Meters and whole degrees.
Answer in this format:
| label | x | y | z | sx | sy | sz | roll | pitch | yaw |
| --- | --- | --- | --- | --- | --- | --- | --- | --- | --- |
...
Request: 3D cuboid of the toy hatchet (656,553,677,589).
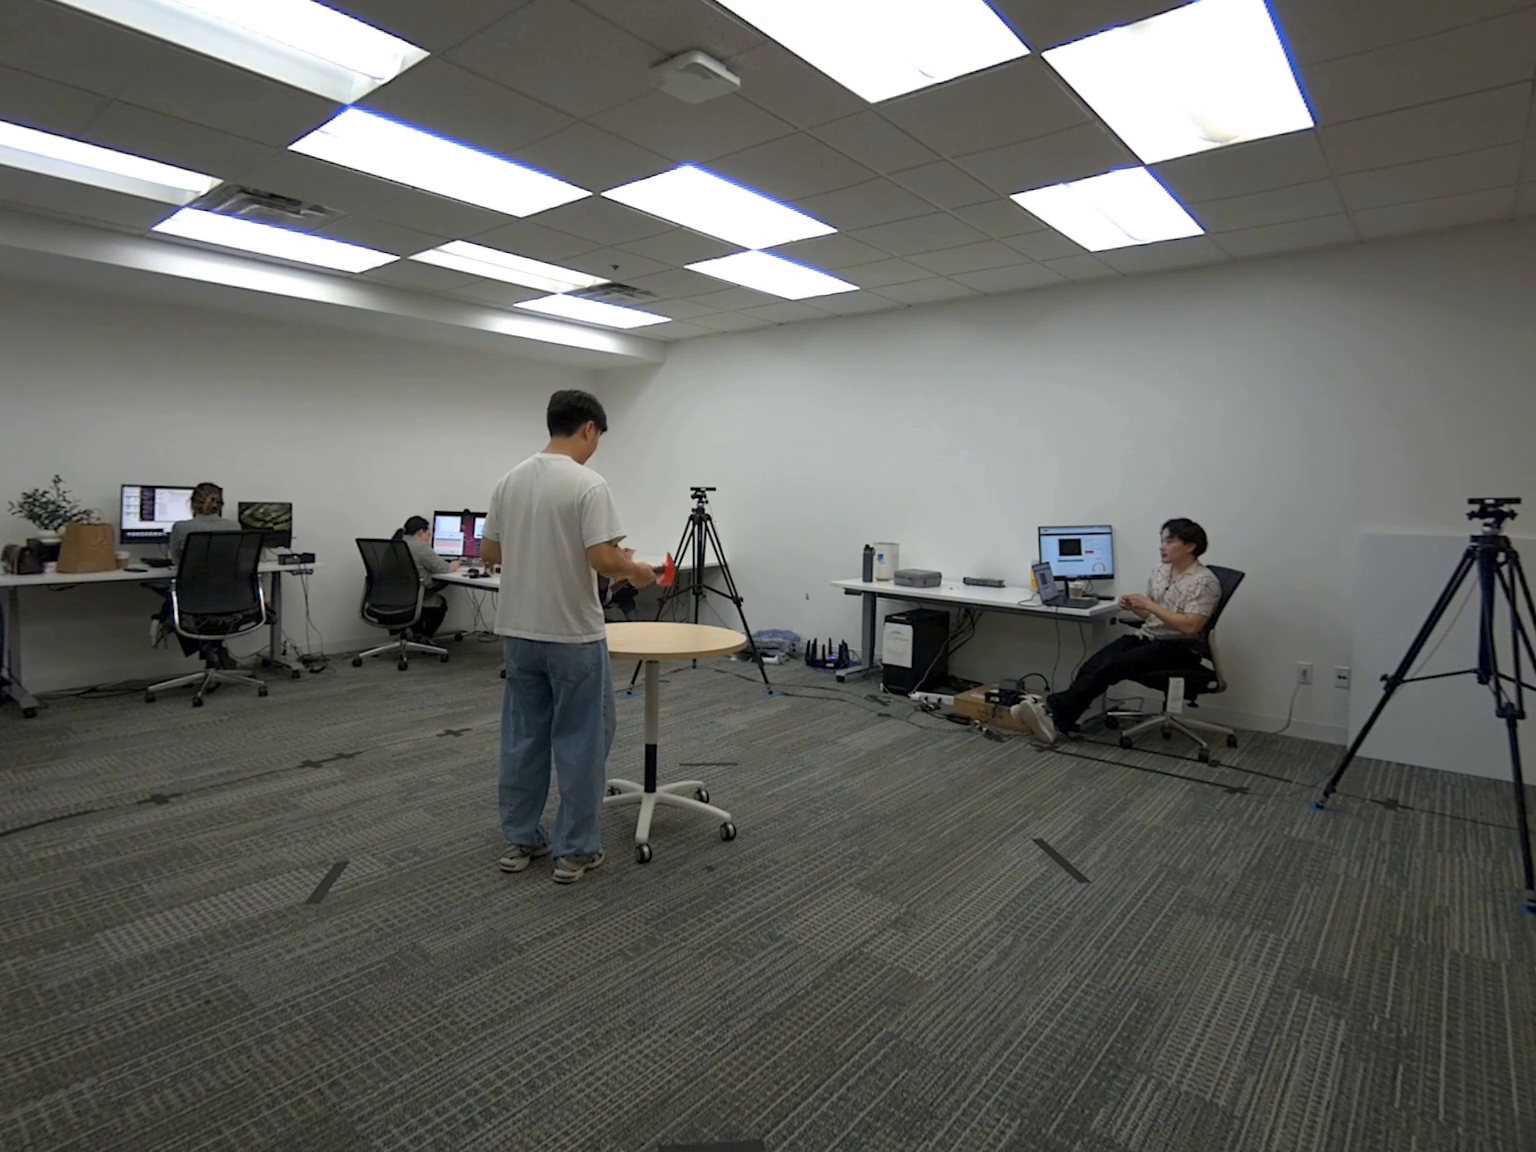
| label | x | y | z | sx | sy | sz | roll | pitch | yaw |
| --- | --- | --- | --- | --- | --- | --- | --- | --- | --- |
| toy hatchet | -0.488 | 0.016 | 3.208 | 0.268 | 0.127 | 0.031 | -29 | 27 | -17 |
